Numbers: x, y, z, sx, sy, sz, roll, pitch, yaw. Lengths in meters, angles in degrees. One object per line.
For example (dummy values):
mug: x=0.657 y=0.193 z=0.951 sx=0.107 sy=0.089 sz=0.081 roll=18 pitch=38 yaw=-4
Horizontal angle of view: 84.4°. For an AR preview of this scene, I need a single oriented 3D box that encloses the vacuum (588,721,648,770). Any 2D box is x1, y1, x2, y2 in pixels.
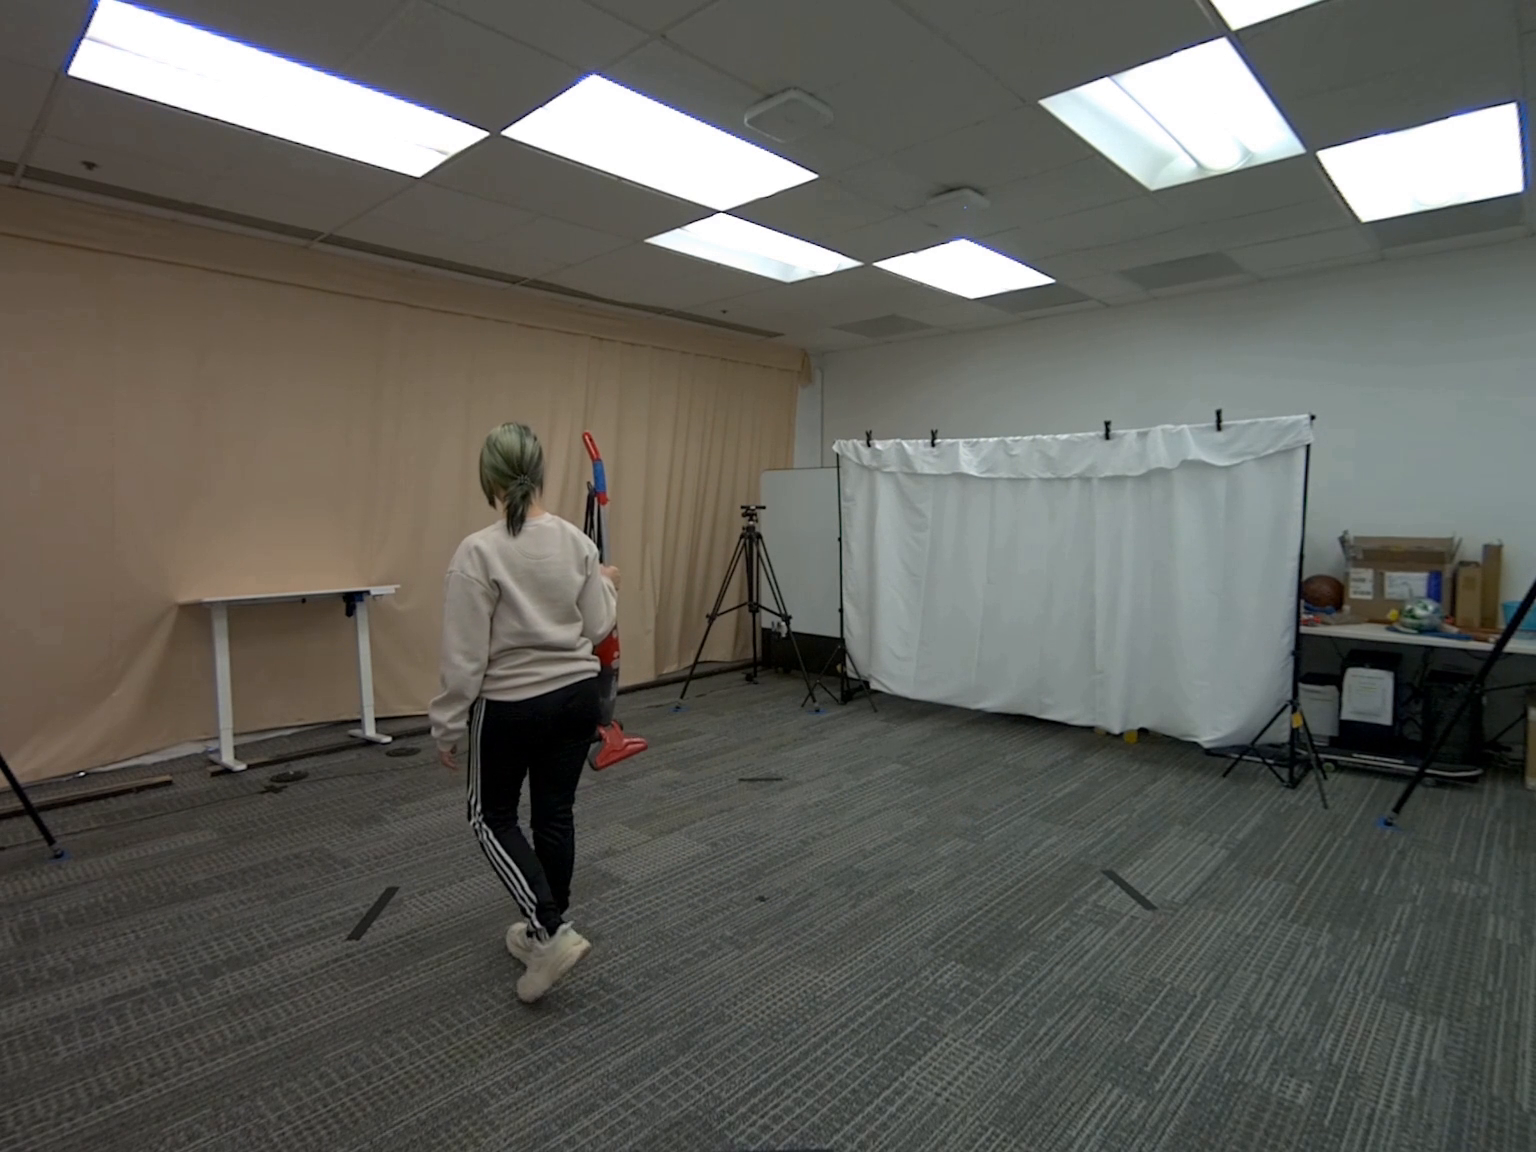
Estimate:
vacuum: x=-0.553 y=0.058 z=2.820 sx=0.149 sy=1.044 sz=0.245 roll=3 pitch=9 yaw=41
